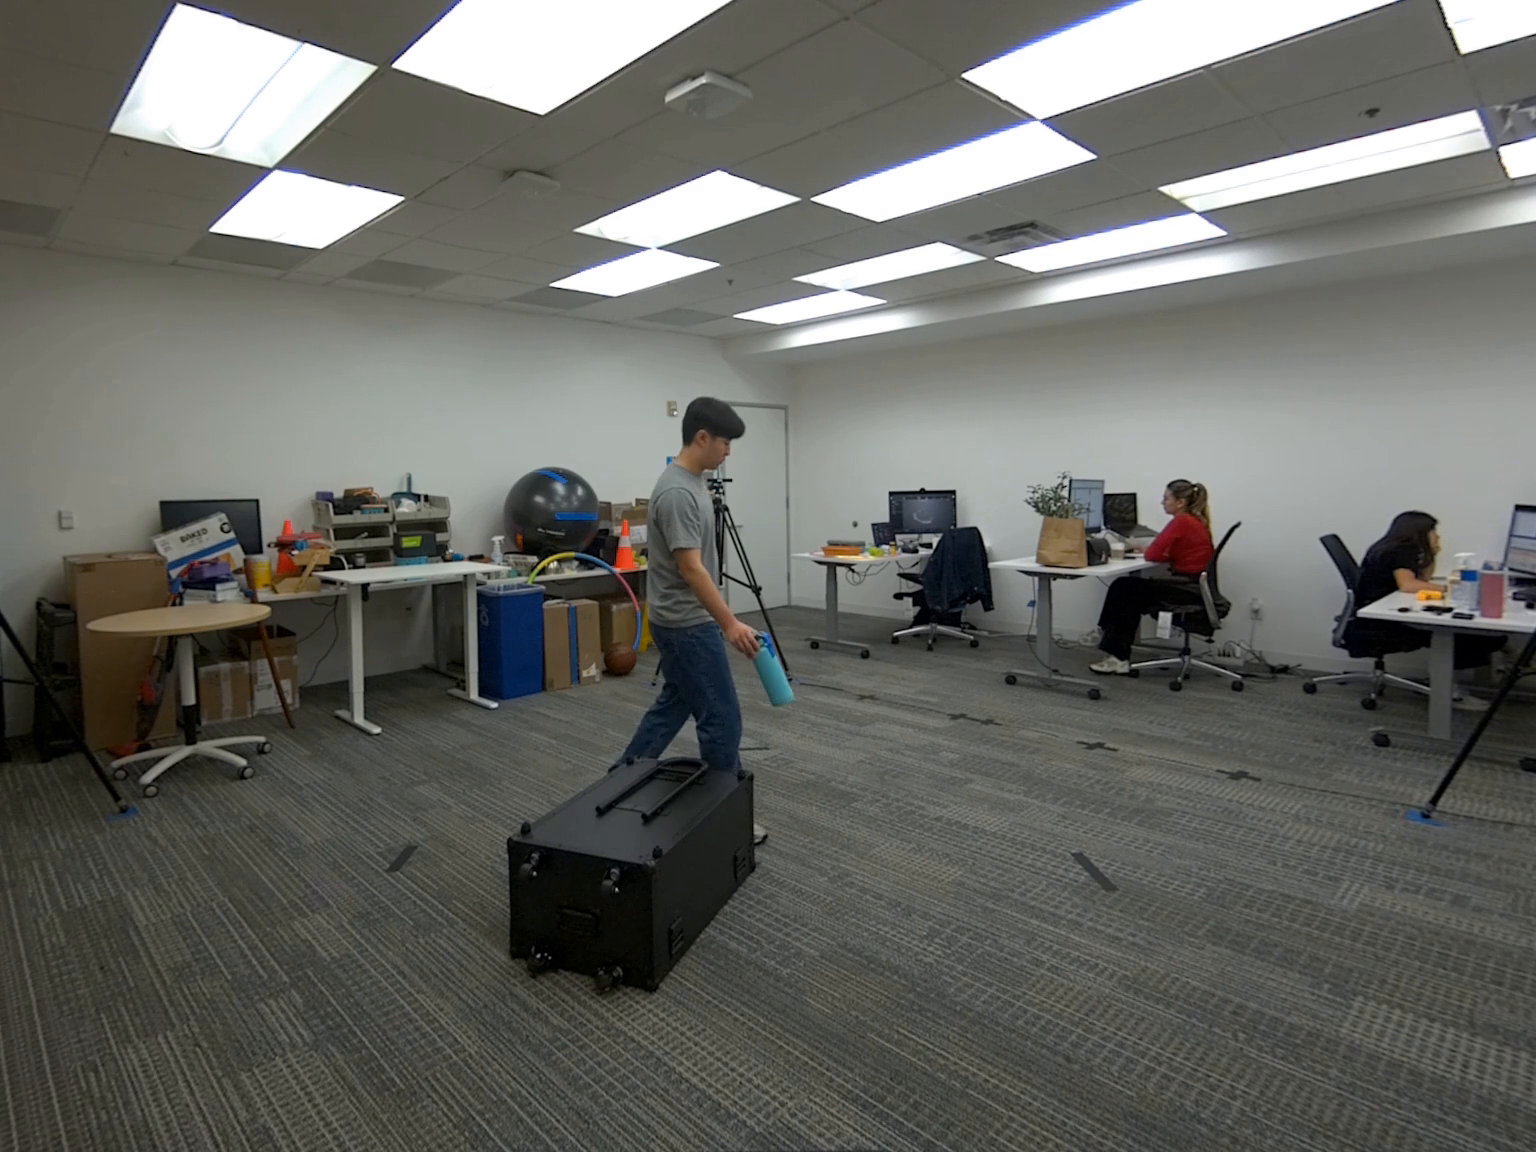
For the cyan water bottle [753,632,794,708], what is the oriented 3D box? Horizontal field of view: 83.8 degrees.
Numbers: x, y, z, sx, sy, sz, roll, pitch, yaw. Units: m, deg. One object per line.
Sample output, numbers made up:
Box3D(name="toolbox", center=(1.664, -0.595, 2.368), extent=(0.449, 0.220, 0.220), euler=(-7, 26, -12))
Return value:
Box3D(name="cyan water bottle", center=(-0.002, 0.332, 3.157), extent=(0.092, 0.282, 0.093), euler=(-19, 5, 0))
